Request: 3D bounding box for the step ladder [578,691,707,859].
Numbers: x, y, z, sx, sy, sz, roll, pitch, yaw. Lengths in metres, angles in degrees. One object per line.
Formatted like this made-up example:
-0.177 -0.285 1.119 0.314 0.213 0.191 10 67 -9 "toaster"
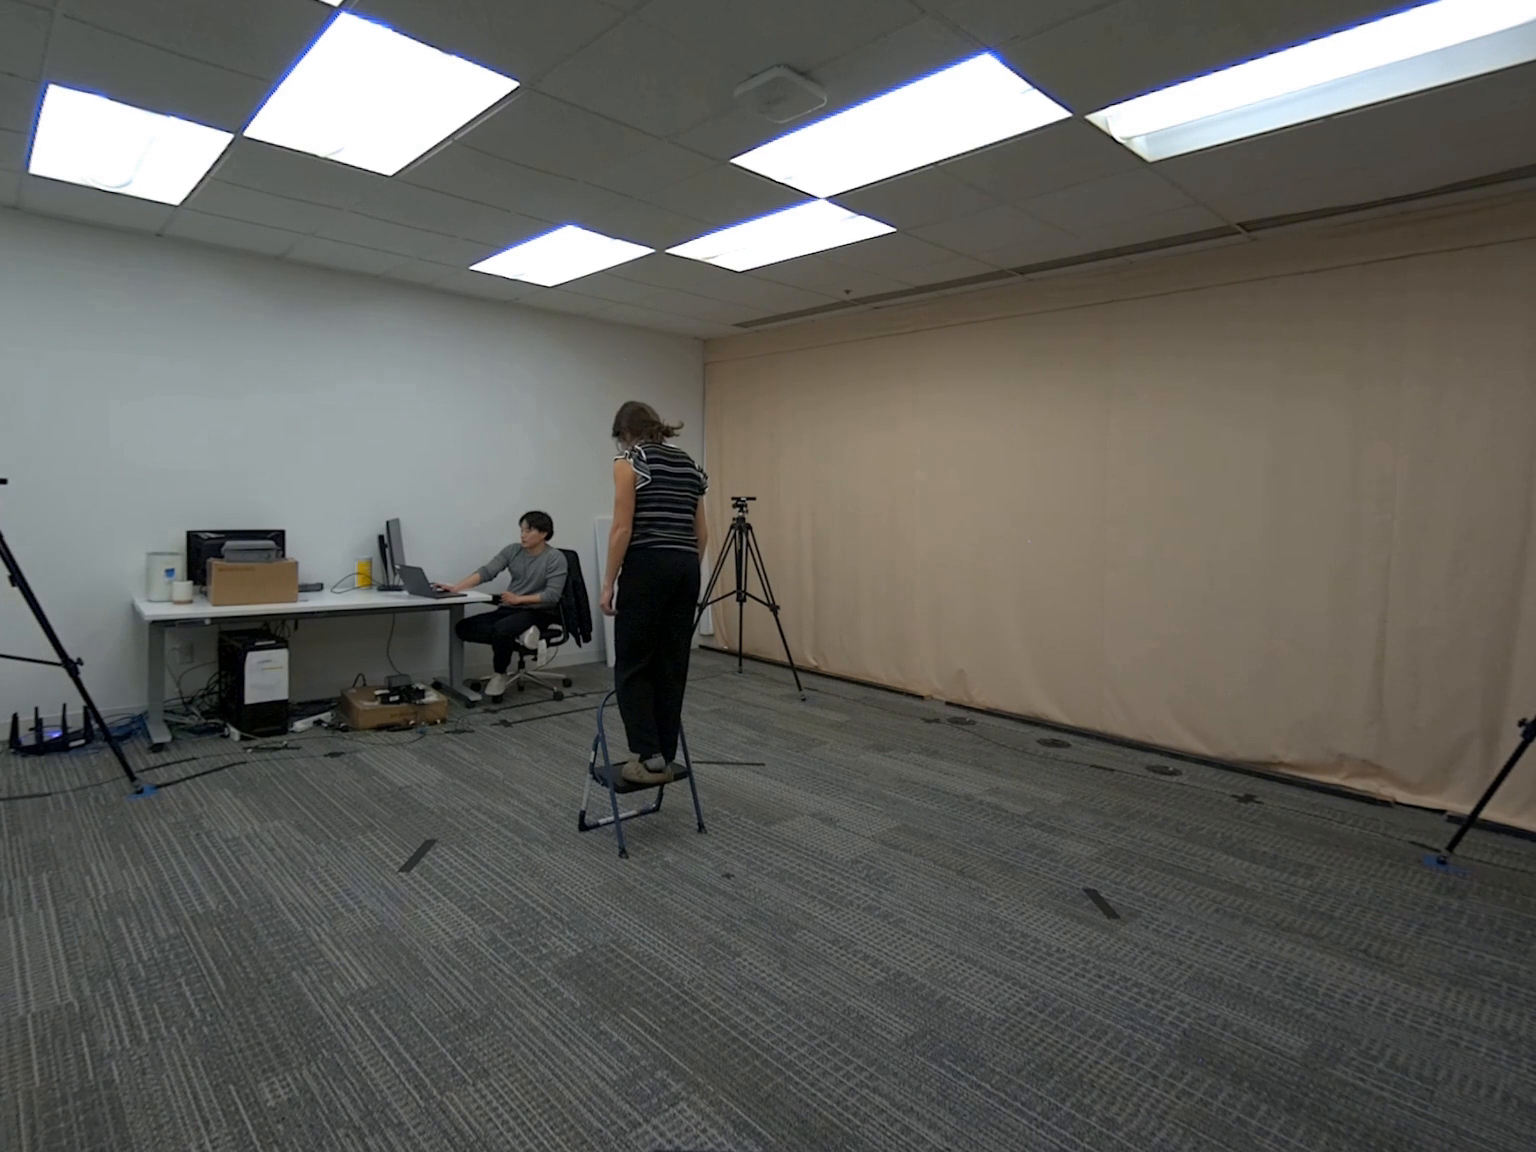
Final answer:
-0.524 0.763 3.487 0.421 0.605 0.358 -2 5 -44 "step ladder"
